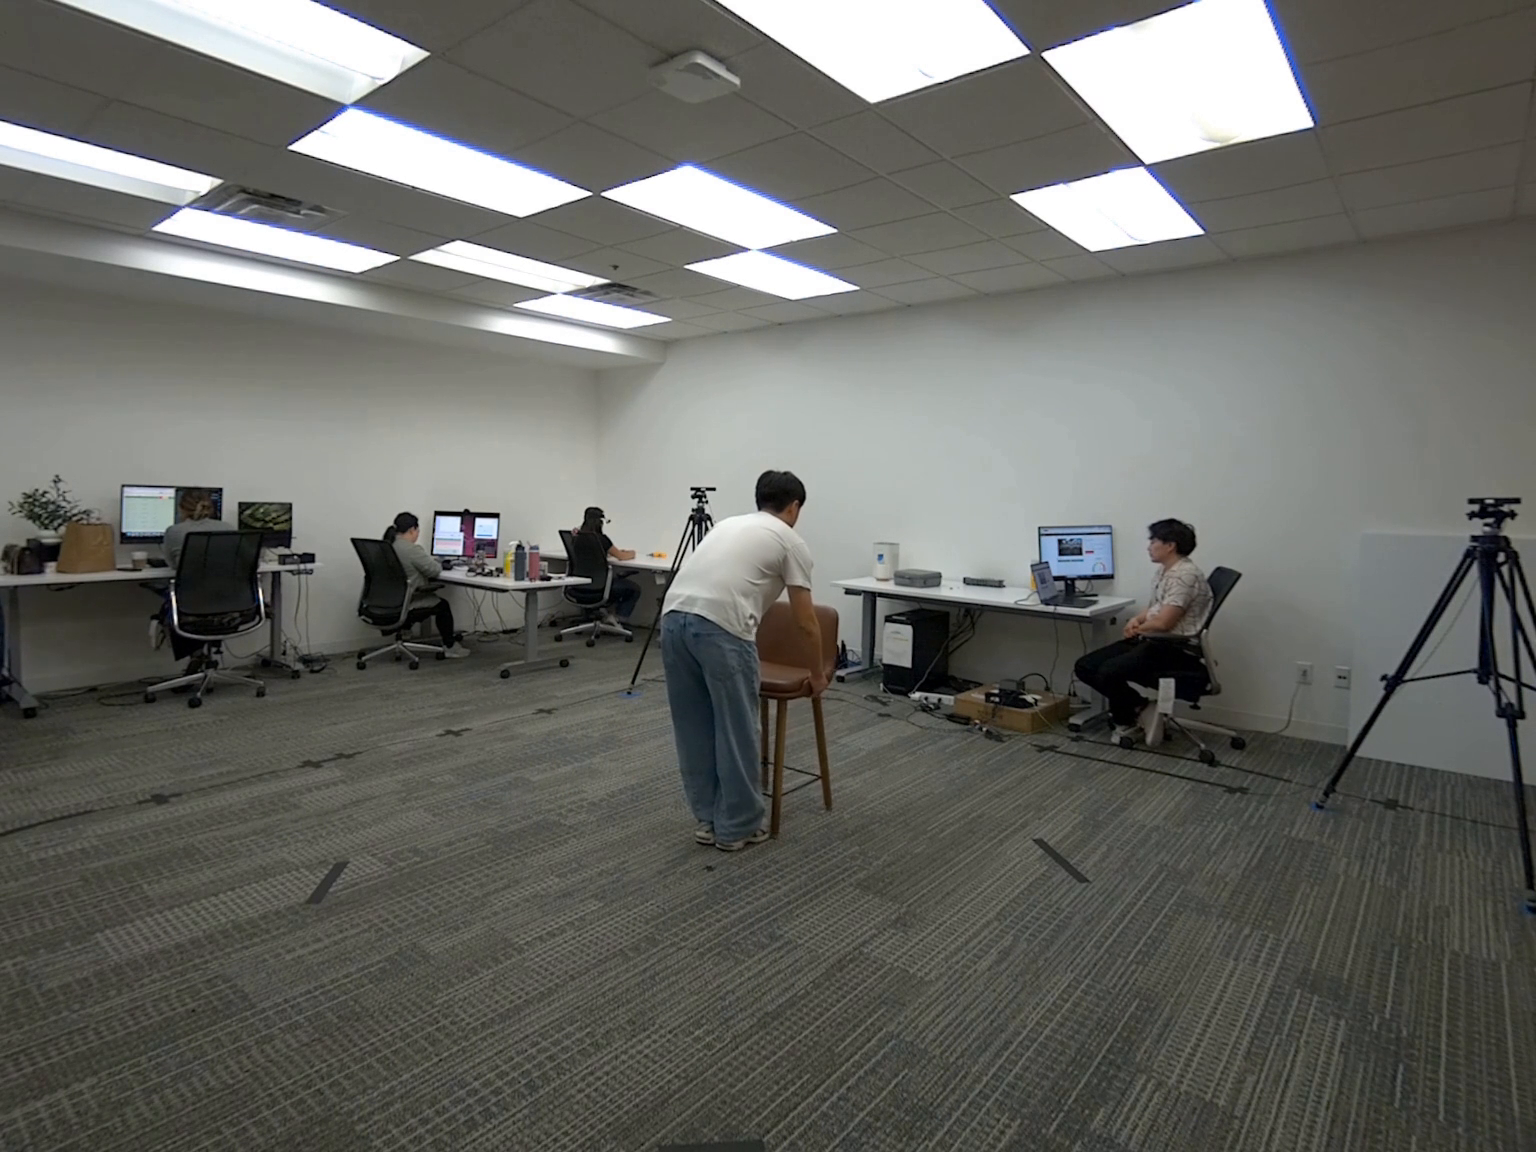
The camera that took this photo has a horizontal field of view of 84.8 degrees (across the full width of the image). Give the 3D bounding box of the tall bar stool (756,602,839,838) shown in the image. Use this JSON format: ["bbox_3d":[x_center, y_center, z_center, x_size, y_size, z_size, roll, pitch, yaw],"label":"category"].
[{"bbox_3d":[0.015,0.567,3.666,0.472,0.889,0.453,4,2,39],"label":"tall bar stool"}]
